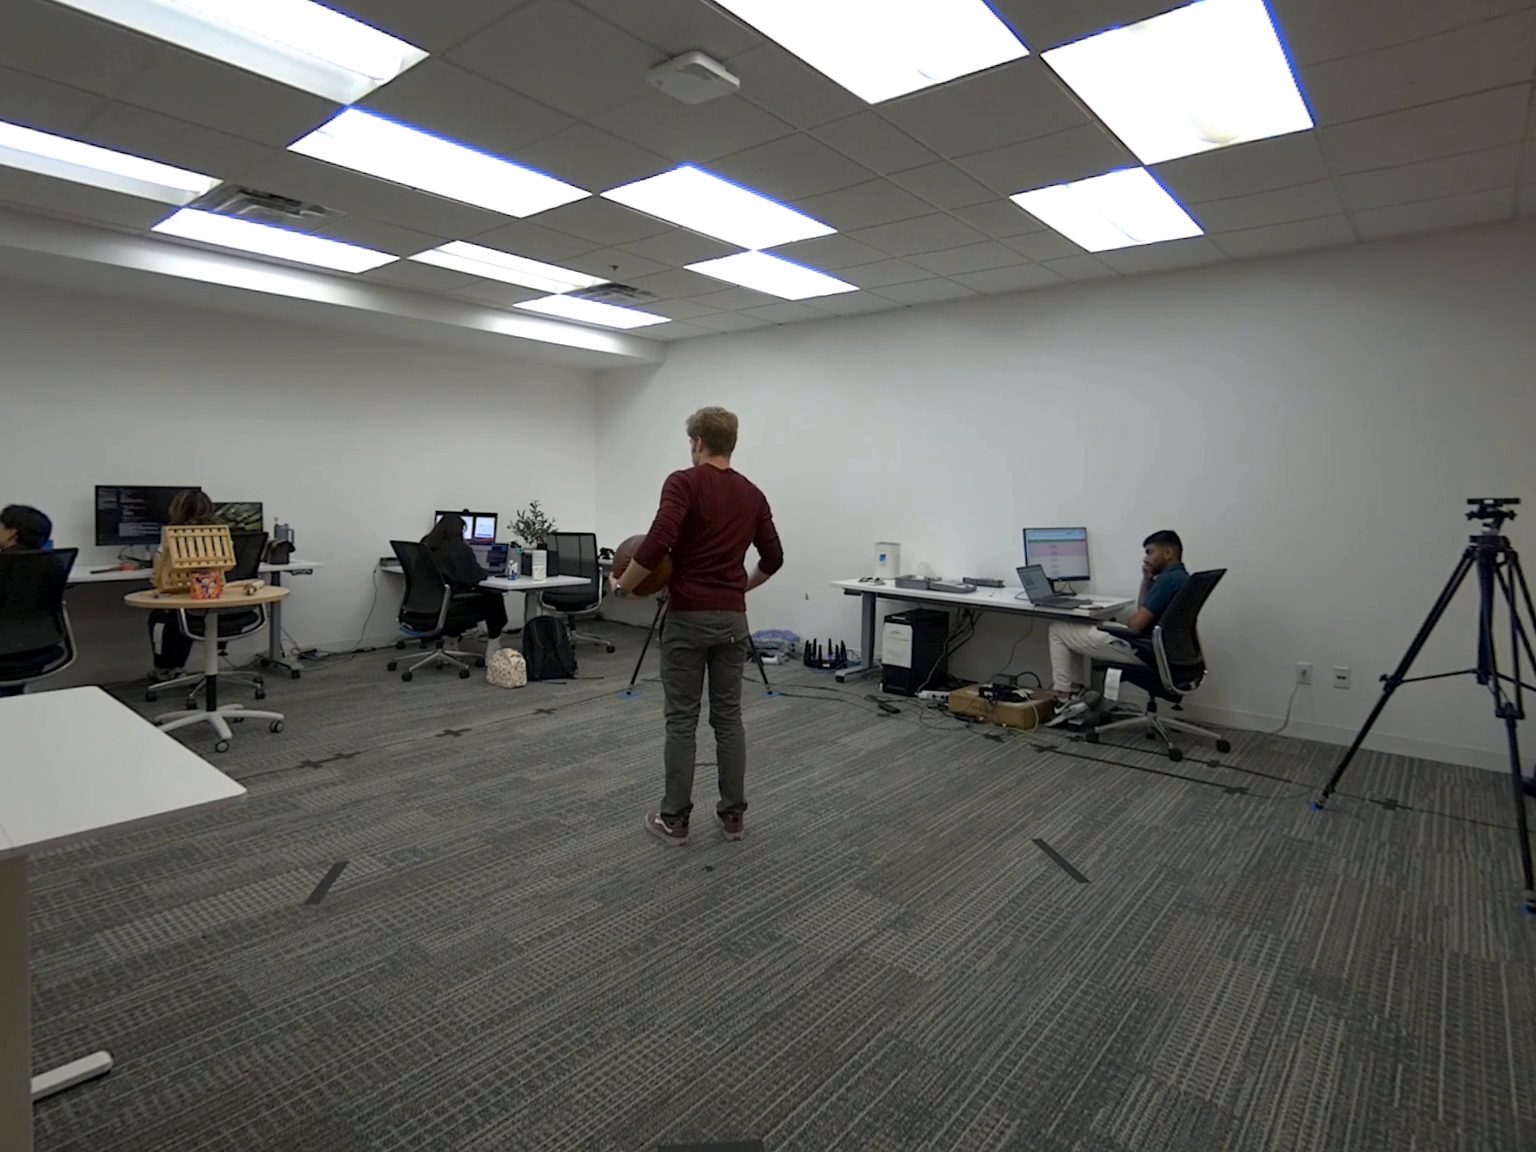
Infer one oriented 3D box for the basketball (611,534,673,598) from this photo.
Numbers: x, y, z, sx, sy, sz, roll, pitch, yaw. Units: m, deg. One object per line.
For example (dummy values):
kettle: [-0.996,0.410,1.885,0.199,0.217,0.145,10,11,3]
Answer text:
basketball: [-0.489,-0.045,3.343,0.235,0.235,0.237,1,4,-2]
